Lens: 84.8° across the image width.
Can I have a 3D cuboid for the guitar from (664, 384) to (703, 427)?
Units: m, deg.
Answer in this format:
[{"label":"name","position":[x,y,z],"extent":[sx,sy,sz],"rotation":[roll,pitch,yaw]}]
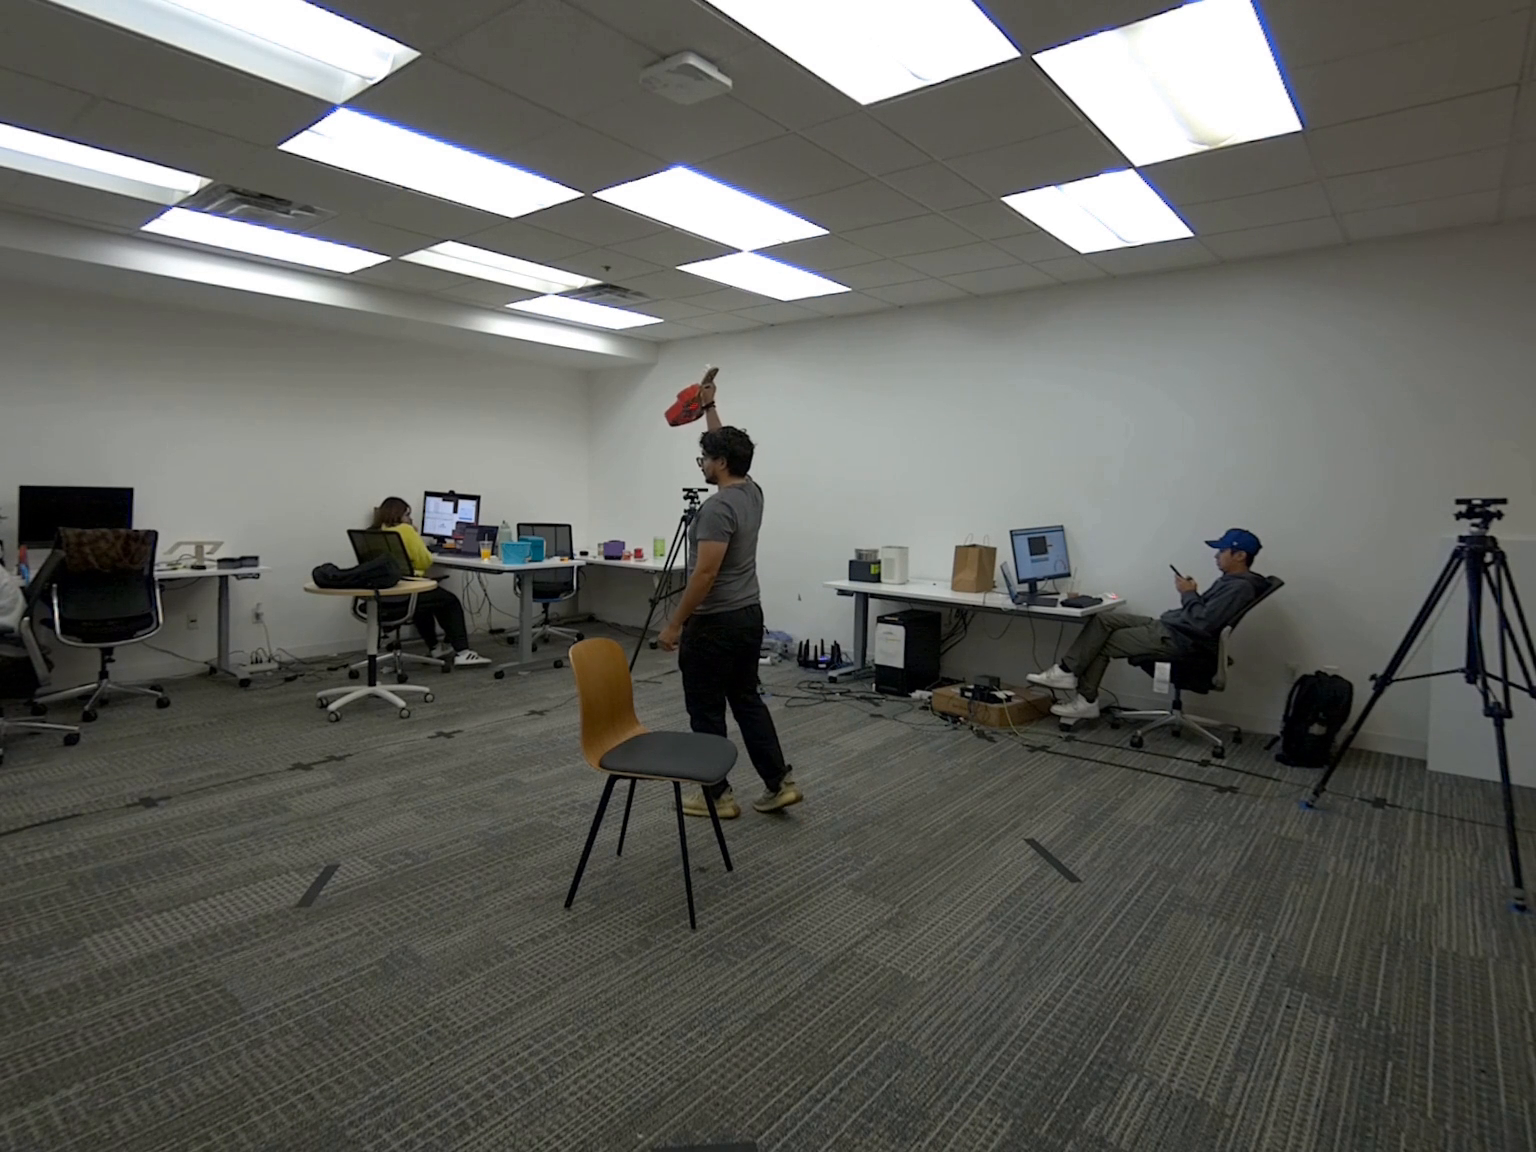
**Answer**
[{"label":"guitar","position":[-0.327,-0.846,3.929],"extent":[0.189,0.072,0.500],"rotation":[-17,-13,-36]}]
